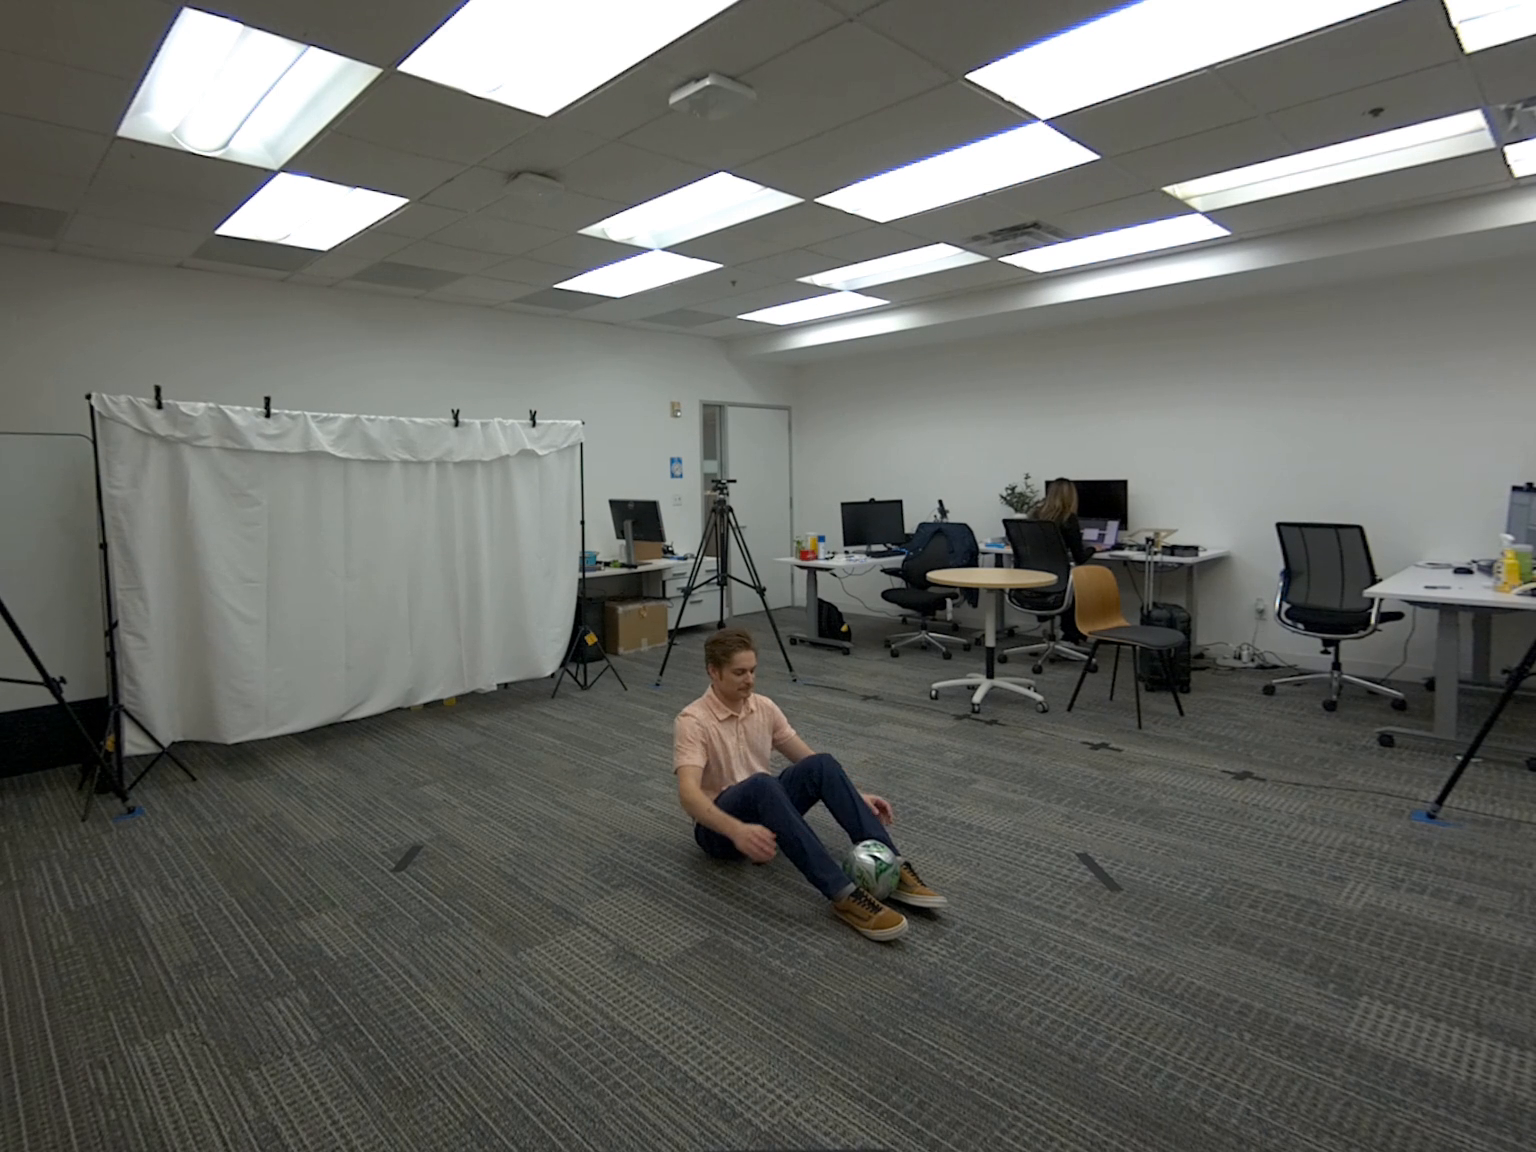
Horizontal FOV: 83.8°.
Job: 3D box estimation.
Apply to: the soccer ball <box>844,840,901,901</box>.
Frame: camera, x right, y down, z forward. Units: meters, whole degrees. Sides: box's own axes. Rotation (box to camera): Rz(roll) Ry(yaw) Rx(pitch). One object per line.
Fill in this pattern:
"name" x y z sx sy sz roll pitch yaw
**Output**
"soccer ball" 0.320 0.956 2.767 0.187 0.187 0.188 -1 5 -2
